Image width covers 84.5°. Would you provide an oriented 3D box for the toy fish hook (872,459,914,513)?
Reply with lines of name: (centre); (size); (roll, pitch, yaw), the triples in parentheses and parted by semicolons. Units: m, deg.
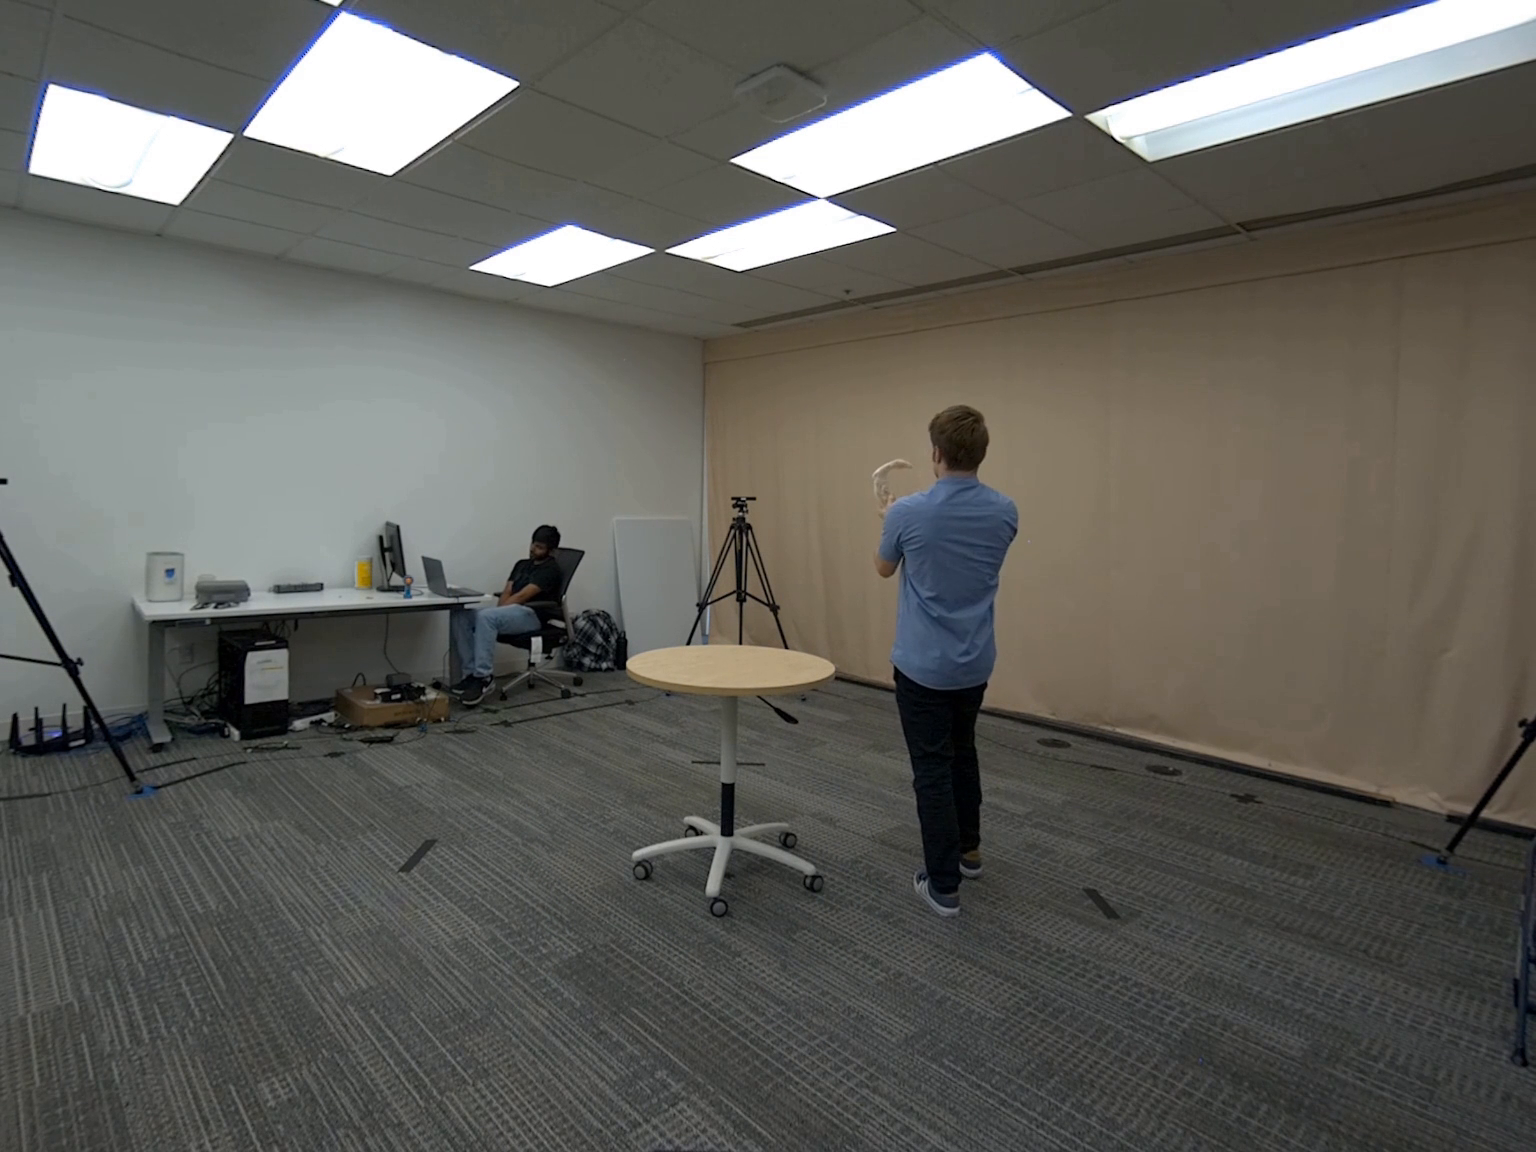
toy fish hook: (0.636, -0.357, 3.361); (0.497, 0.225, 0.049); (-1, -4, -26)
